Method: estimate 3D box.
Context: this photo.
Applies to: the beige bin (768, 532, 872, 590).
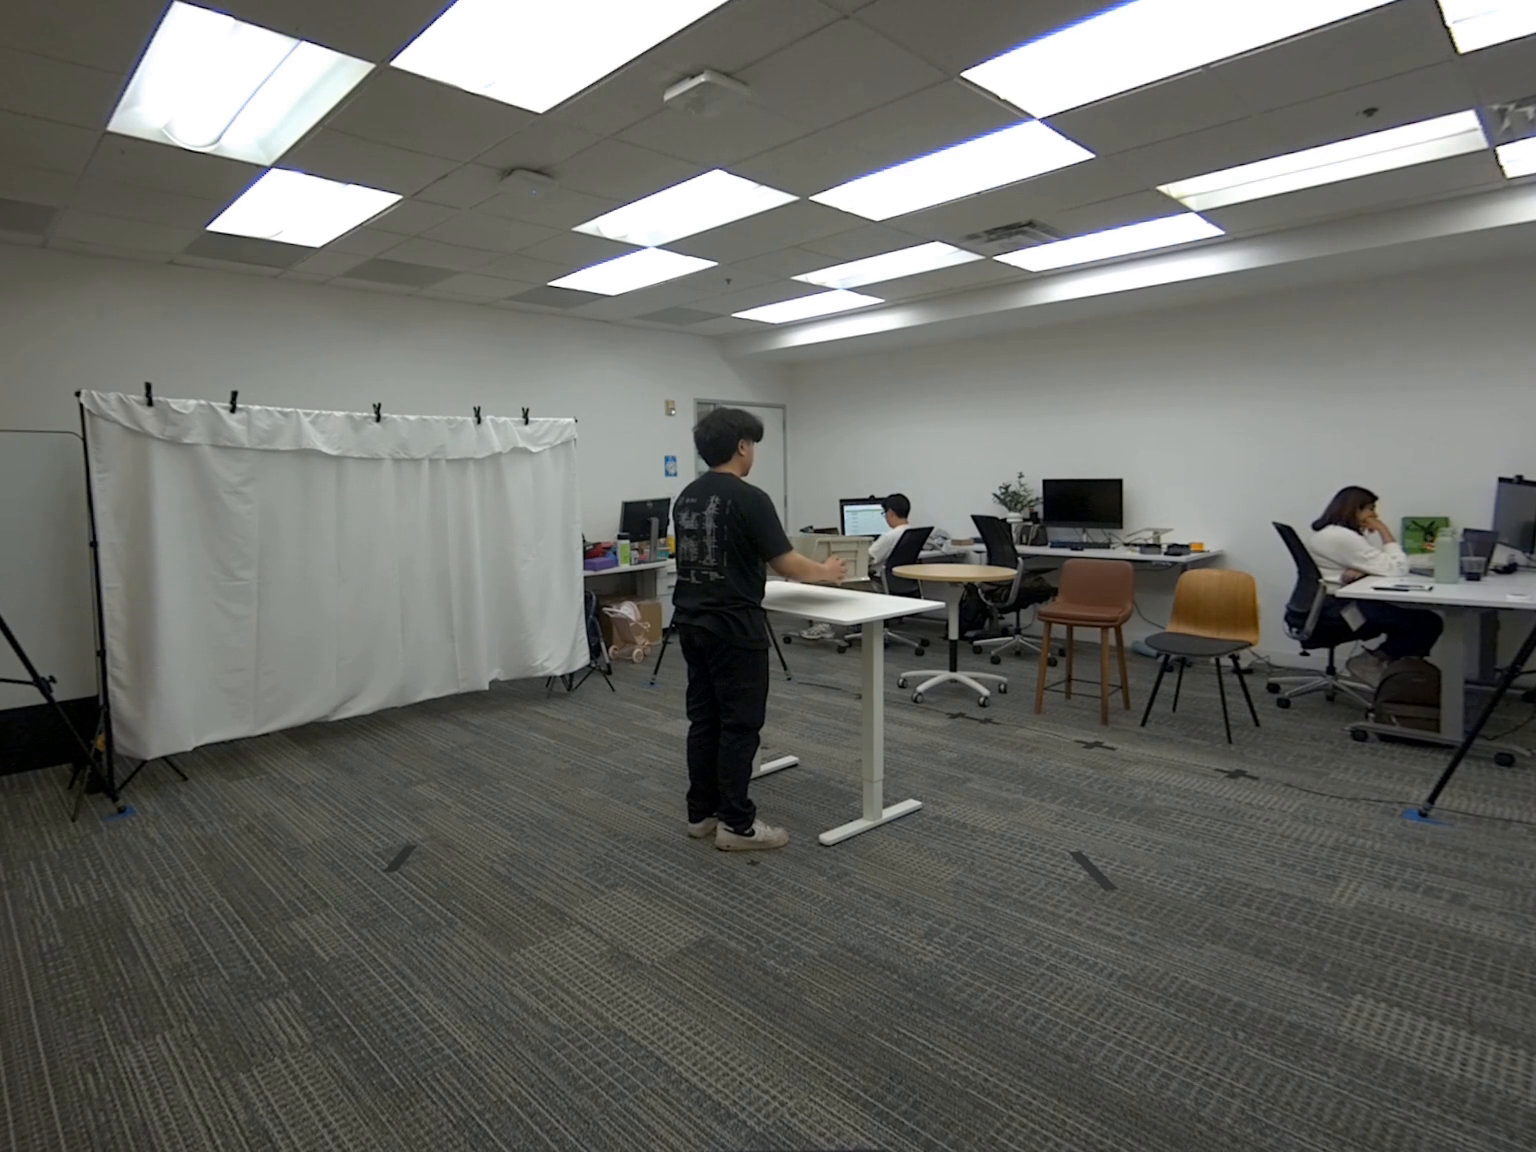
[{"bbox_3d":[0.162,-0.079,3.615,0.366,0.188,0.435,-1,4,-41],"label":"beige bin"}]
